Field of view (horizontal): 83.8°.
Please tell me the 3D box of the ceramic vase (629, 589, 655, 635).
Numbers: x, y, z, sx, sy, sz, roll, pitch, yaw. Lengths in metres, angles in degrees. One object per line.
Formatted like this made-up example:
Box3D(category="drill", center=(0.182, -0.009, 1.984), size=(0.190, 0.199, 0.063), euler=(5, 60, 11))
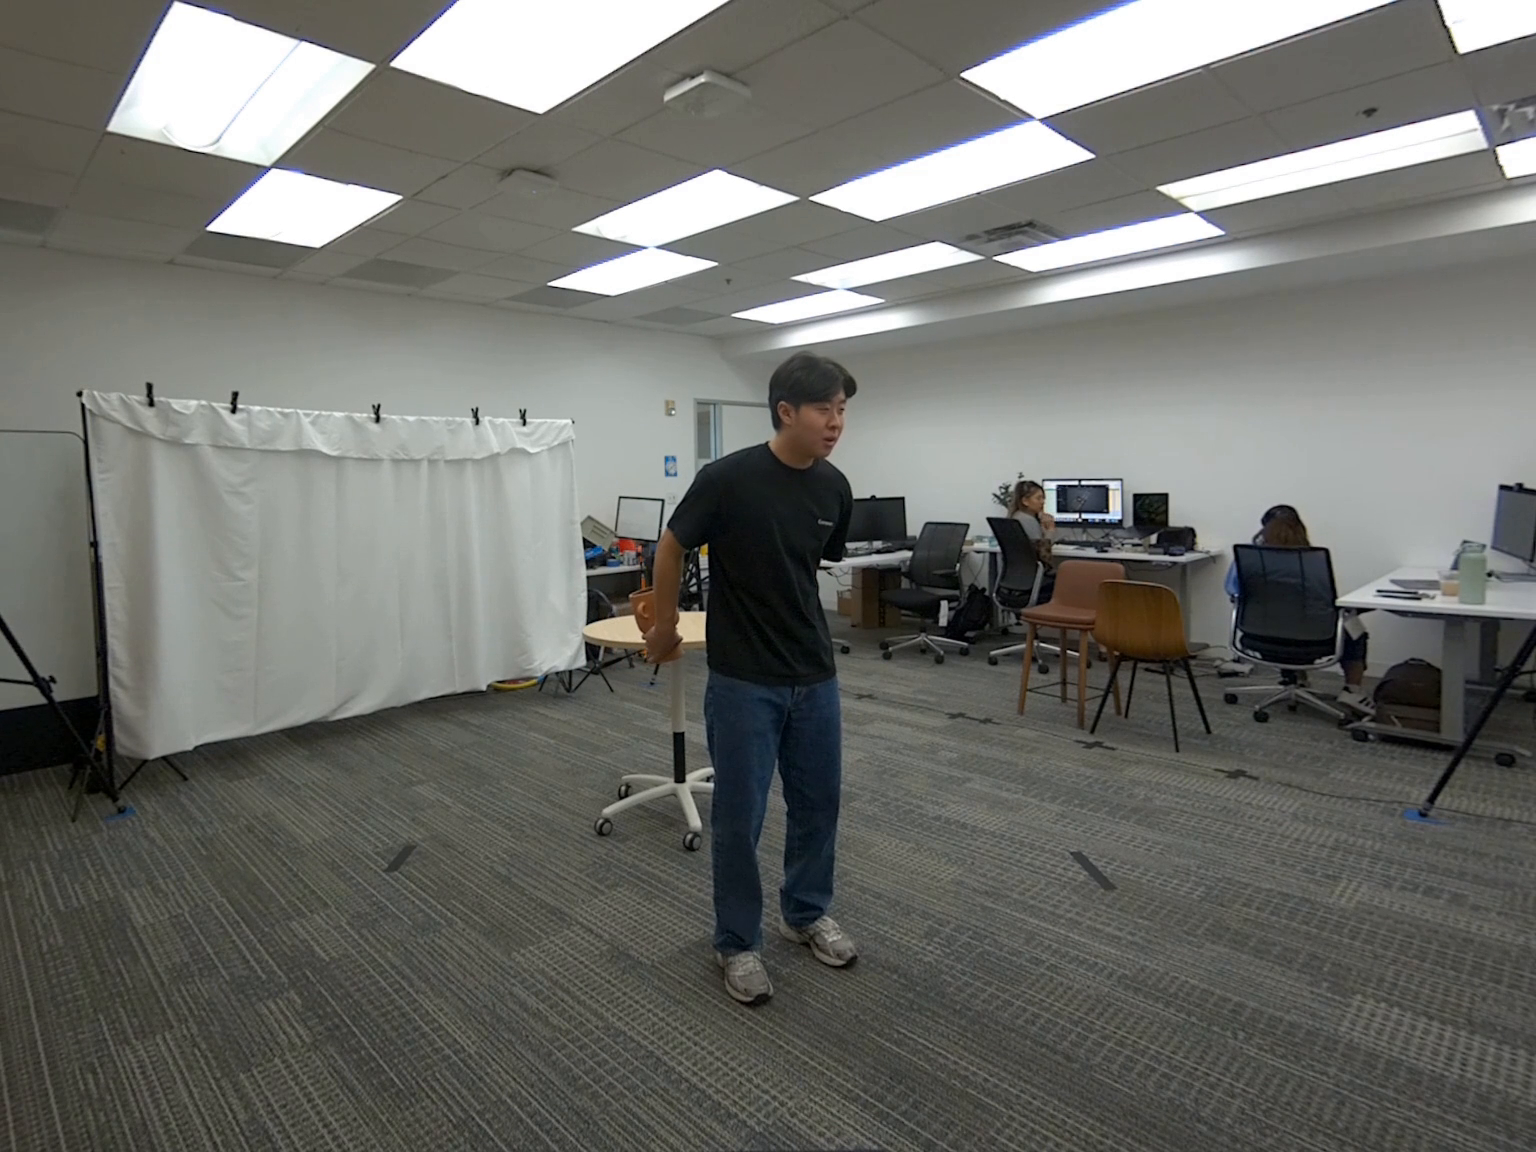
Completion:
Box3D(category="ceramic vase", center=(-0.317, 0.147, 2.591), size=(0.156, 0.219, 0.137), euler=(-17, 5, -30))
